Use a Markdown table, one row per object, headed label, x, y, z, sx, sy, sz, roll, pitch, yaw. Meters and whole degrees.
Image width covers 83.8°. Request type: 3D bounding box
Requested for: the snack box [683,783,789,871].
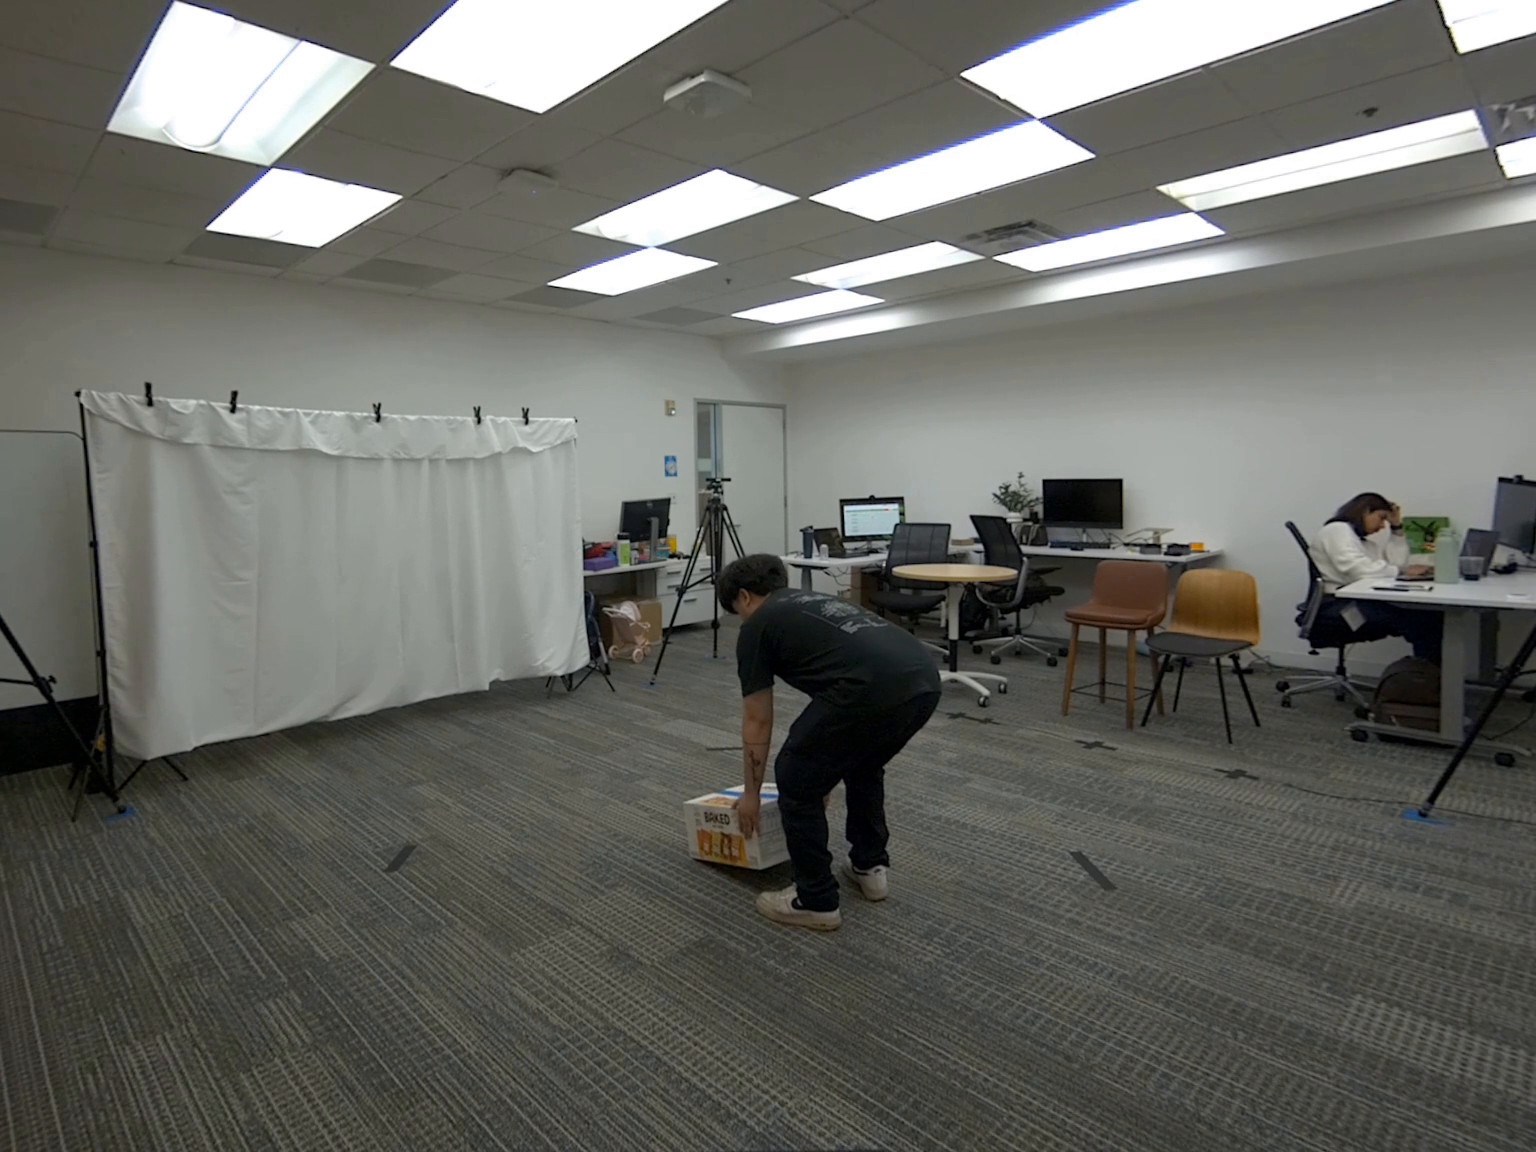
| label | x | y | z | sx | sy | sz | roll | pitch | yaw |
| --- | --- | --- | --- | --- | --- | --- | --- | --- | --- |
| snack box | -0.043 | 0.901 | 3.109 | 0.331 | 0.207 | 0.413 | -5 | -5 | -39 |
